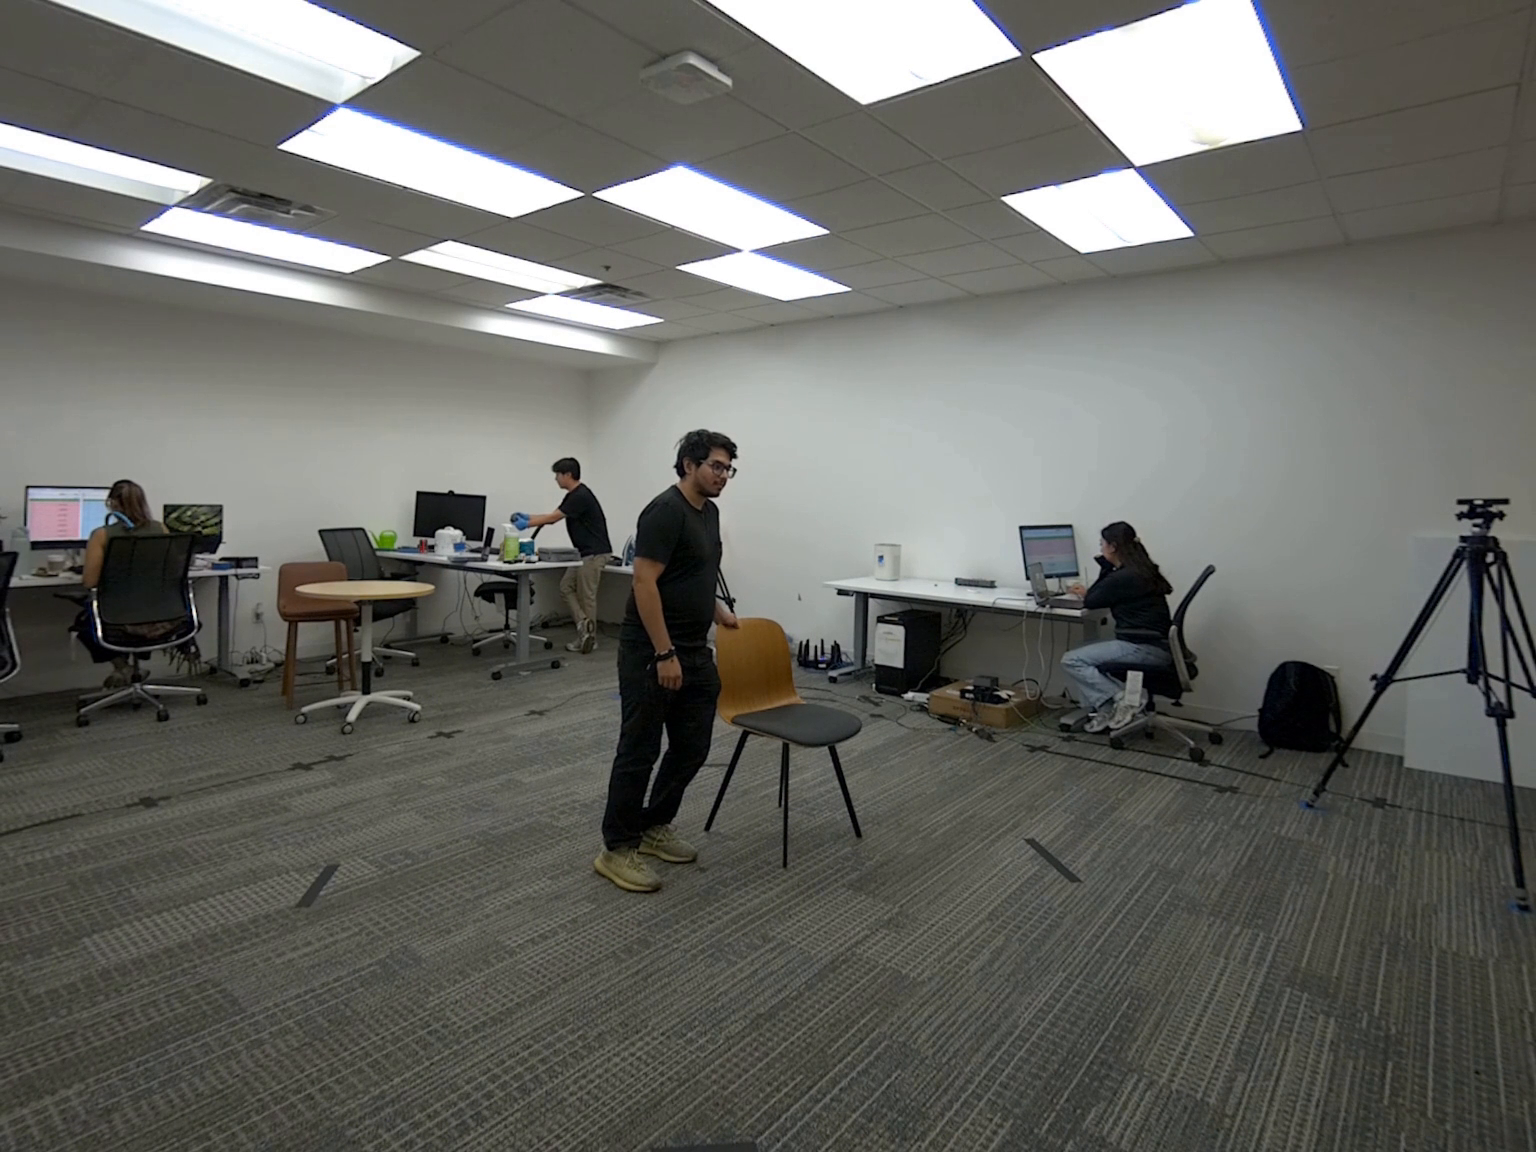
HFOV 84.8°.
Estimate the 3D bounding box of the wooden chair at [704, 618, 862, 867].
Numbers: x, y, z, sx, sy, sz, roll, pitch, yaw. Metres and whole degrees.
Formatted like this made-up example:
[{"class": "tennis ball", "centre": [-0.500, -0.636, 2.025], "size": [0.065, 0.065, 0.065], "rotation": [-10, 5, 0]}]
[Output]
[{"class": "wooden chair", "centre": [0.070, 0.619, 3.415], "size": [0.463, 0.877, 0.539], "rotation": [-2, 1, -44]}]
